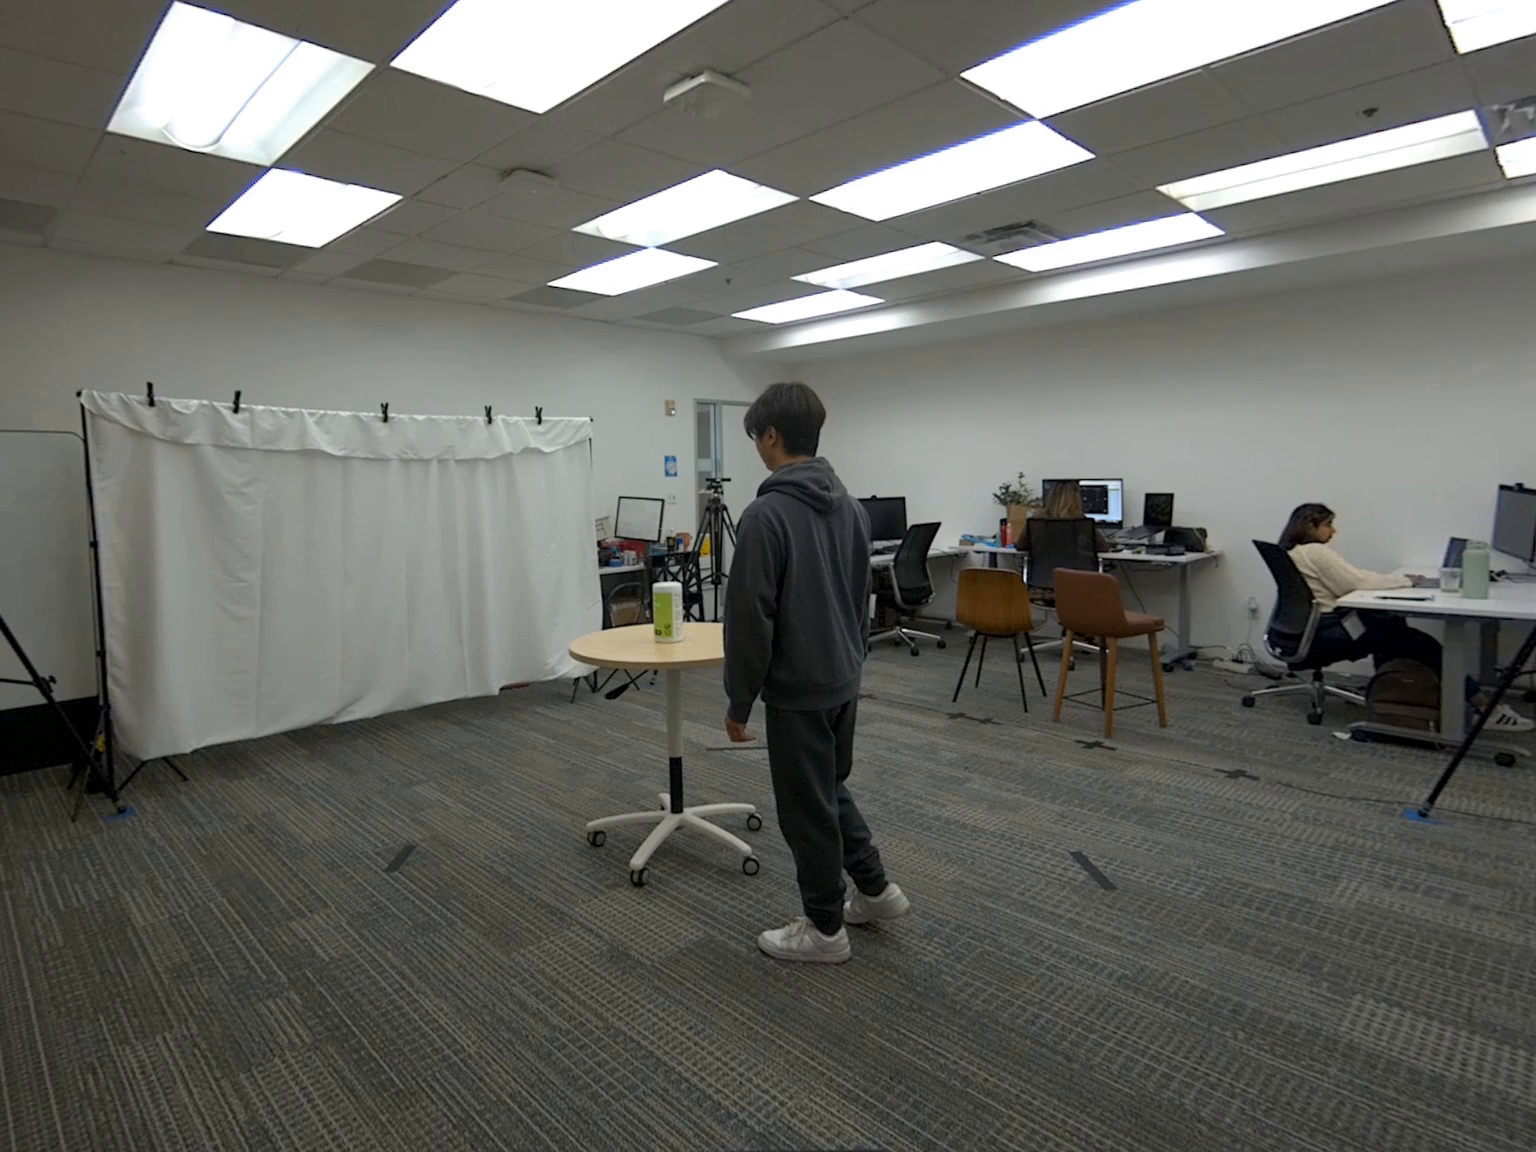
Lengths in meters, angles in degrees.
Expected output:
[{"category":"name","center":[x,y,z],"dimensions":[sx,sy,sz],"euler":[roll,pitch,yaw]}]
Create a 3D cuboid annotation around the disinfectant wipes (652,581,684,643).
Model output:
[{"category":"disinfectant wipes","center":[-0.372,0.134,3.182],"dimensions":[0.118,0.216,0.118],"euler":[-1,4,-2]}]
